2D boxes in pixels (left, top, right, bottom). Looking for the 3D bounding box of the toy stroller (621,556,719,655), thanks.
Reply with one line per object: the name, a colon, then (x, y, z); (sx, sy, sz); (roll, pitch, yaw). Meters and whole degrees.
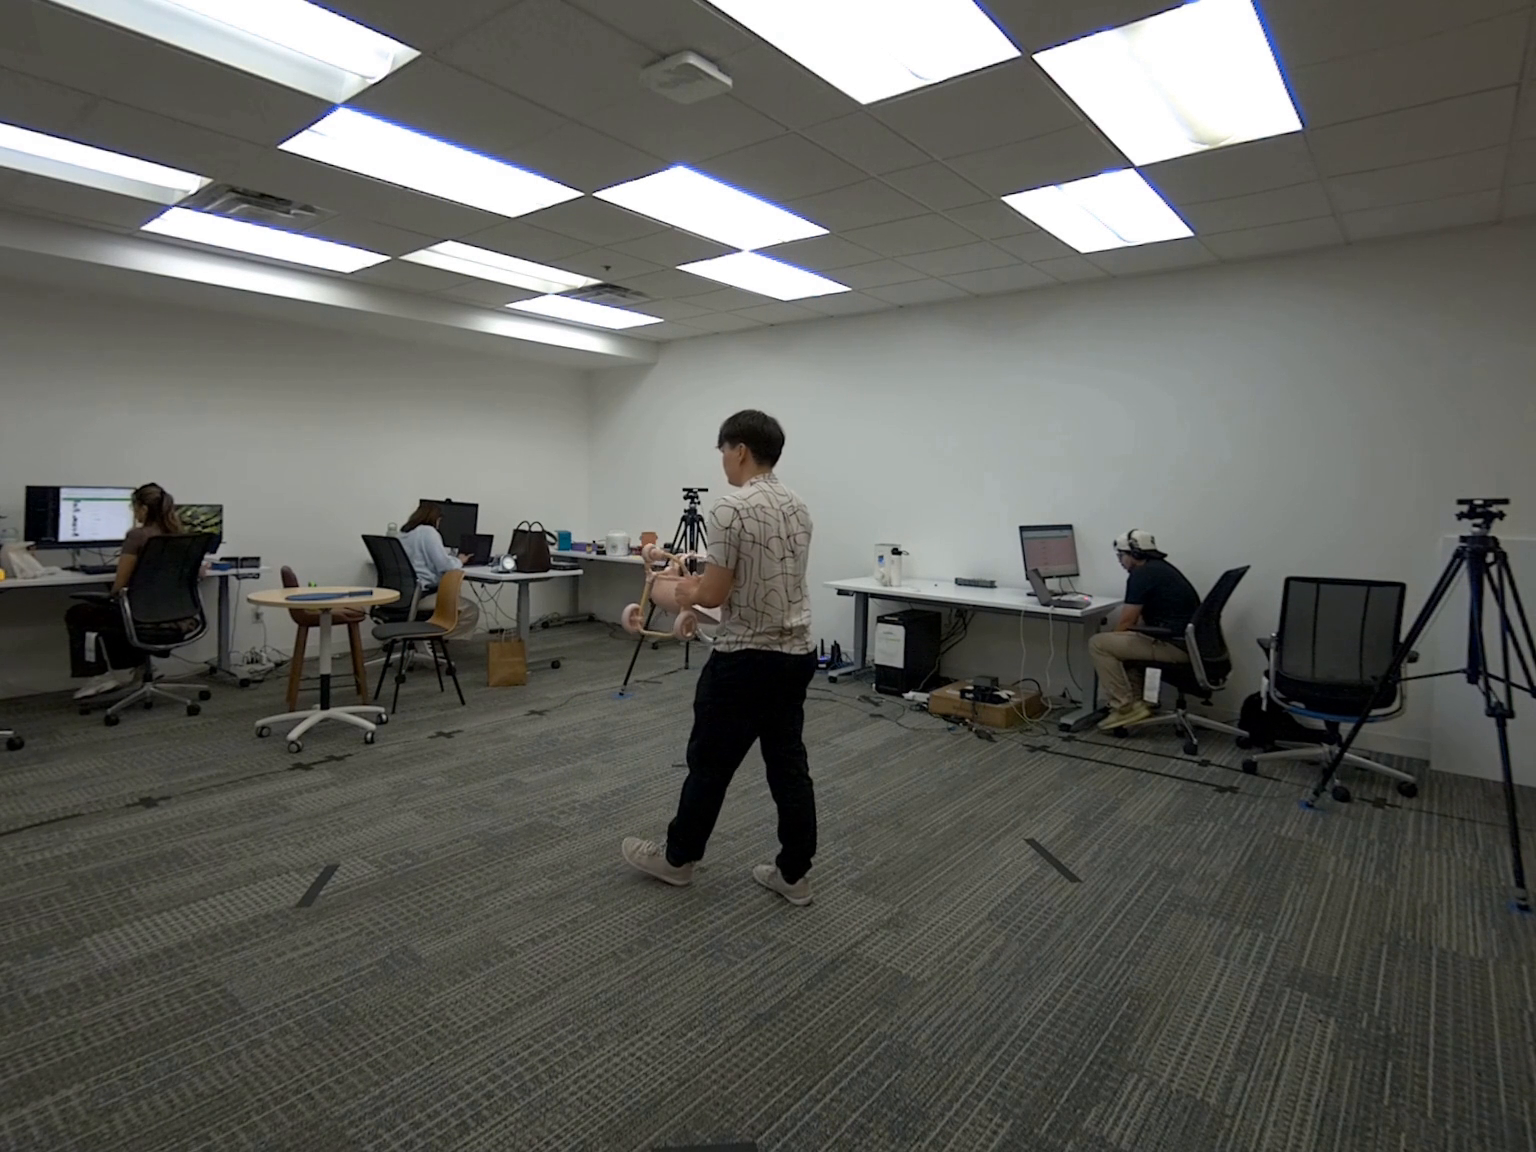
toy stroller: (-0.321, 0.074, 3.171); (0.290, 0.344, 0.515); (-1, -9, 36)
